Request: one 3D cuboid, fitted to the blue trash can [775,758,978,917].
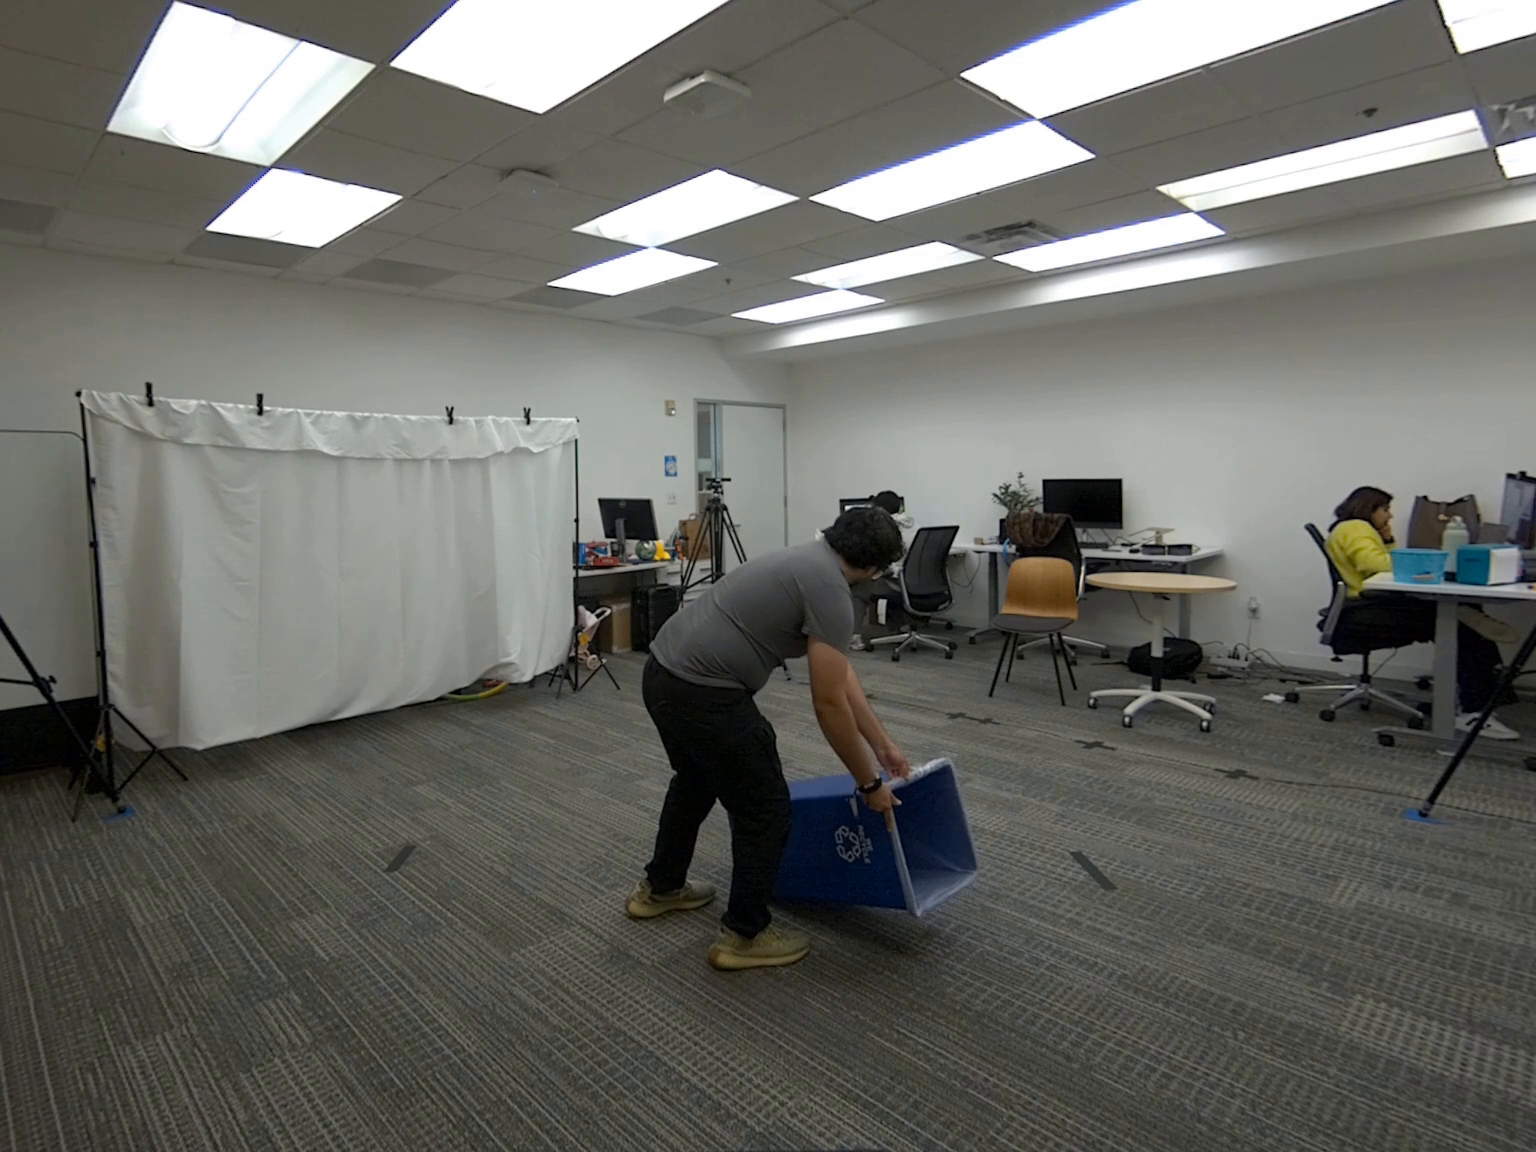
[{"bbox_3d":[0.247,0.831,2.754,0.364,0.381,0.727,-7,-7,-45],"label":"blue trash can"}]
